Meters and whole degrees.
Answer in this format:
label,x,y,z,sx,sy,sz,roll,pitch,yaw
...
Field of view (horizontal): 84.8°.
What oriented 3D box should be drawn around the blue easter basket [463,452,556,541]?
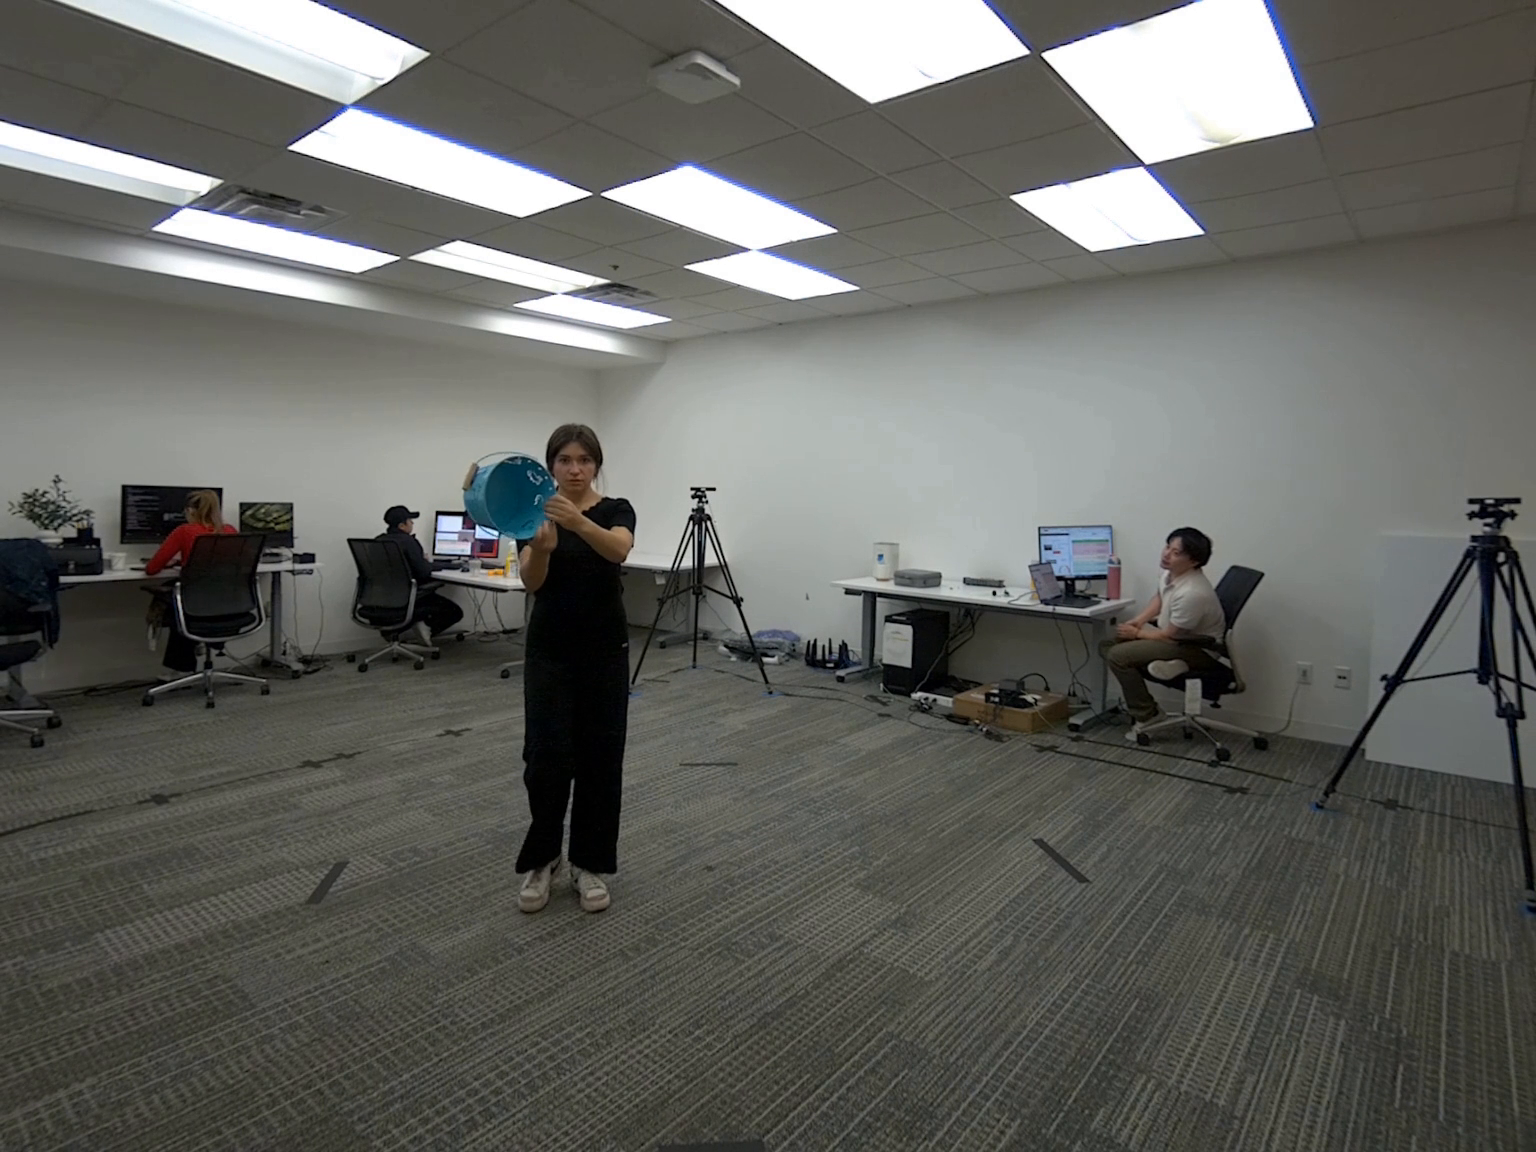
label,x,y,z,sx,sy,sz,roll,pitch,yaw
blue easter basket,-0.744,-0.225,2.381,0.161,0.243,0.236,1,3,42
